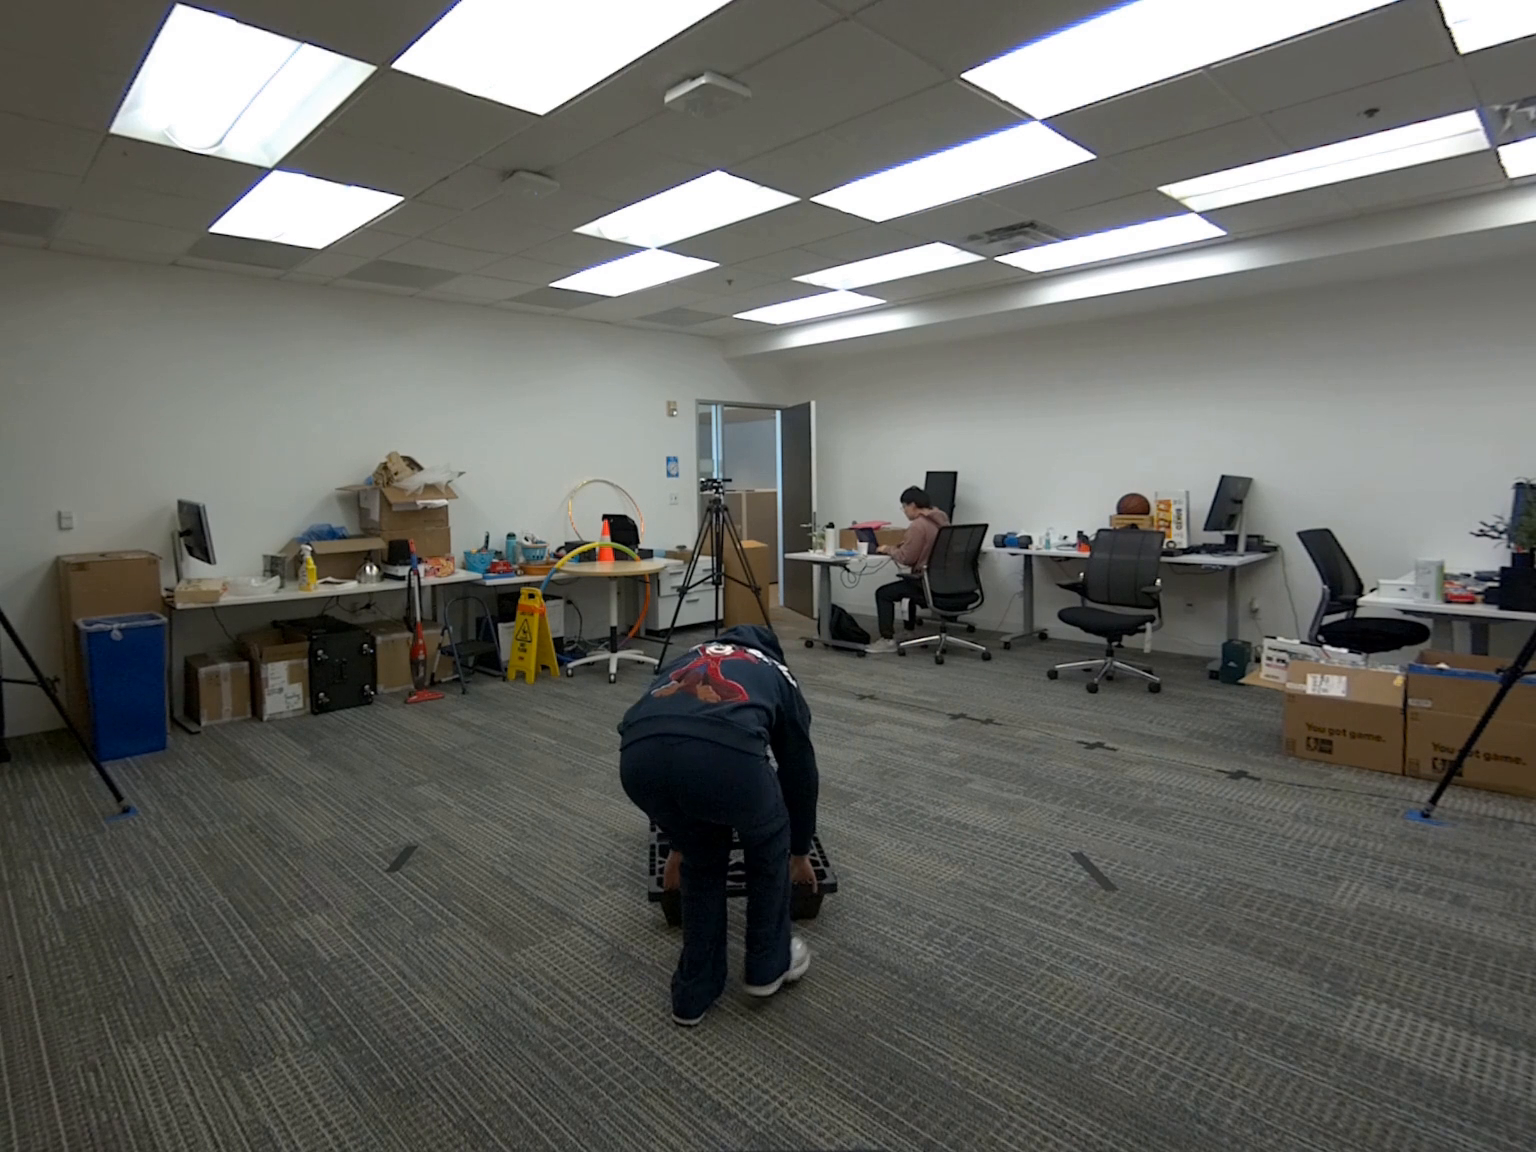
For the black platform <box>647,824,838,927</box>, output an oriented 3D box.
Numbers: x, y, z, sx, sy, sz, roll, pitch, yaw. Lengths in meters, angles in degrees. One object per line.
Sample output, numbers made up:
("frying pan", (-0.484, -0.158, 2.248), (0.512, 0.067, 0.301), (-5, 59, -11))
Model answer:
("black platform", (-0.124, 0.984, 3.047), (0.602, 0.142, 0.813), (-2, 7, -6))
